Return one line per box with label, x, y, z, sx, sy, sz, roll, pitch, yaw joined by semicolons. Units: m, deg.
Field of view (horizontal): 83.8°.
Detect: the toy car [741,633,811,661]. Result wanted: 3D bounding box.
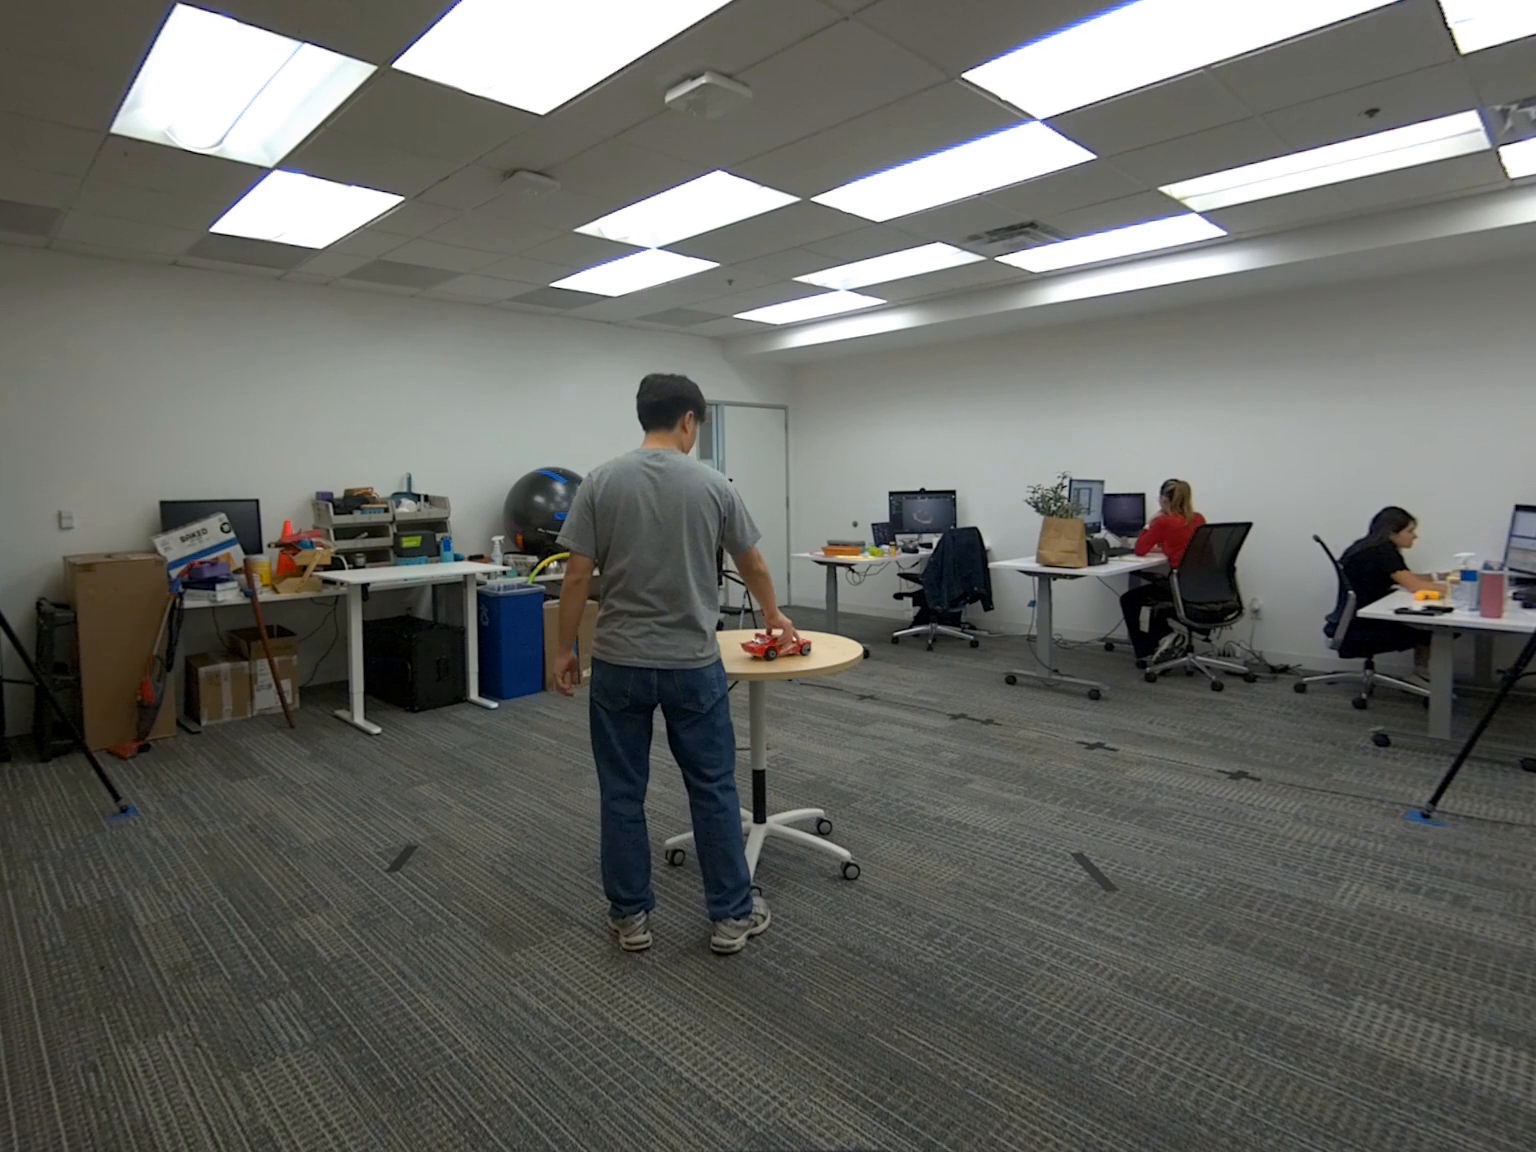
toy car;0.028;0.247;2.952;0.247;0.083;0.134;8;0;-31
